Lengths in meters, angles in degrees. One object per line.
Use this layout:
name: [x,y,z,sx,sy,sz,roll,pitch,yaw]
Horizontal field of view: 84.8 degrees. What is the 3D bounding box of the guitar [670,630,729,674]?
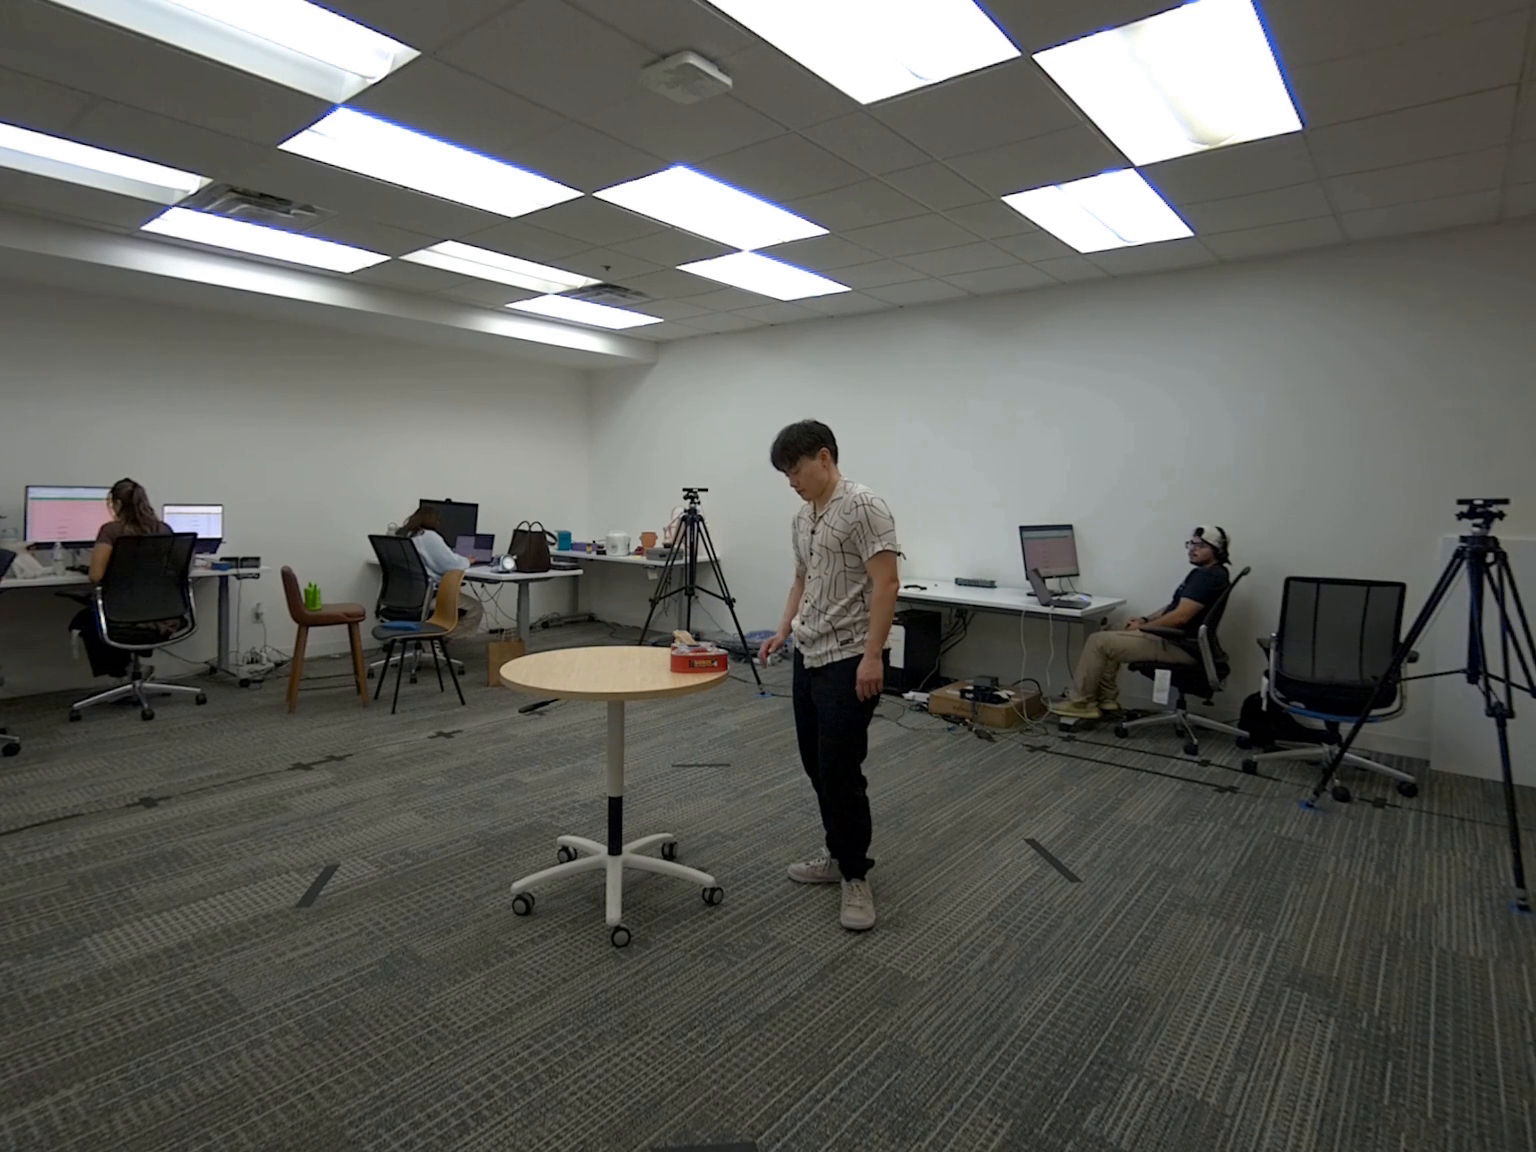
guitar: [-0.255,0.262,3.007,0.192,0.070,0.502,-1,6,-5]
